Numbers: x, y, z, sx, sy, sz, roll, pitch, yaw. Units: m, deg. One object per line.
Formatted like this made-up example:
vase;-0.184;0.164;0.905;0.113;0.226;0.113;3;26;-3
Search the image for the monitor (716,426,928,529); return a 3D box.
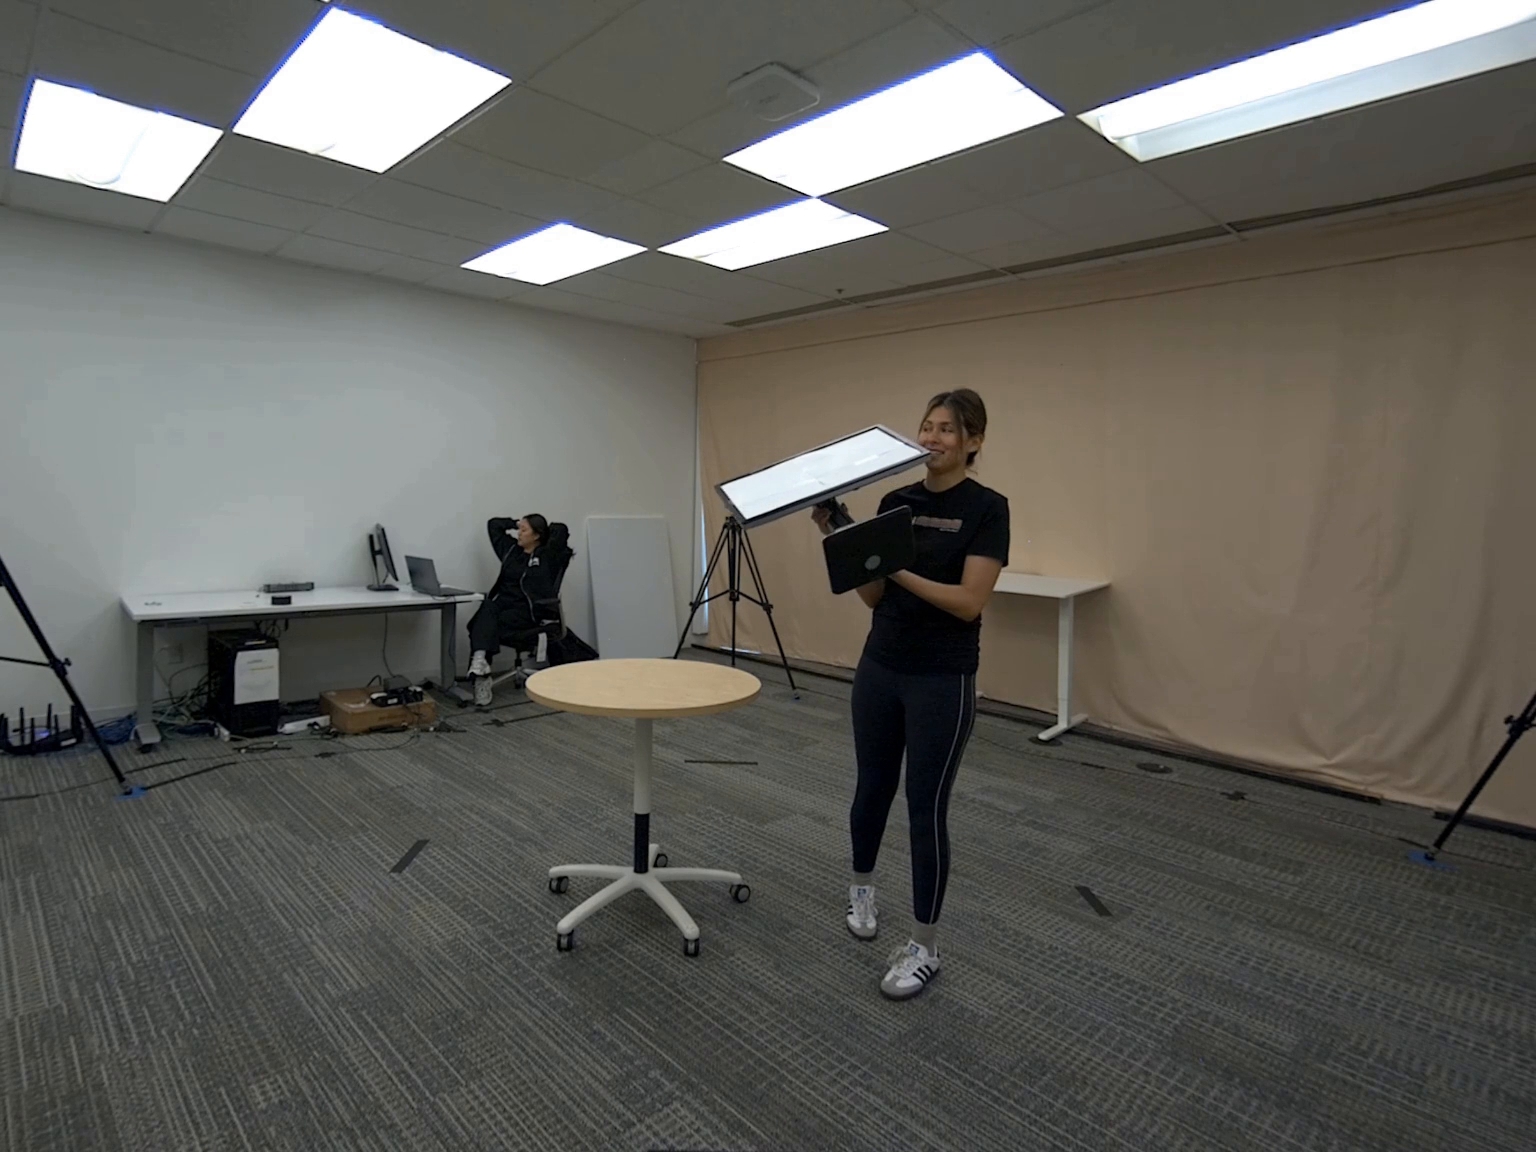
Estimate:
monitor;0.173;-0.212;2.381;0.537;0.182;0.538;-20;38;-8
